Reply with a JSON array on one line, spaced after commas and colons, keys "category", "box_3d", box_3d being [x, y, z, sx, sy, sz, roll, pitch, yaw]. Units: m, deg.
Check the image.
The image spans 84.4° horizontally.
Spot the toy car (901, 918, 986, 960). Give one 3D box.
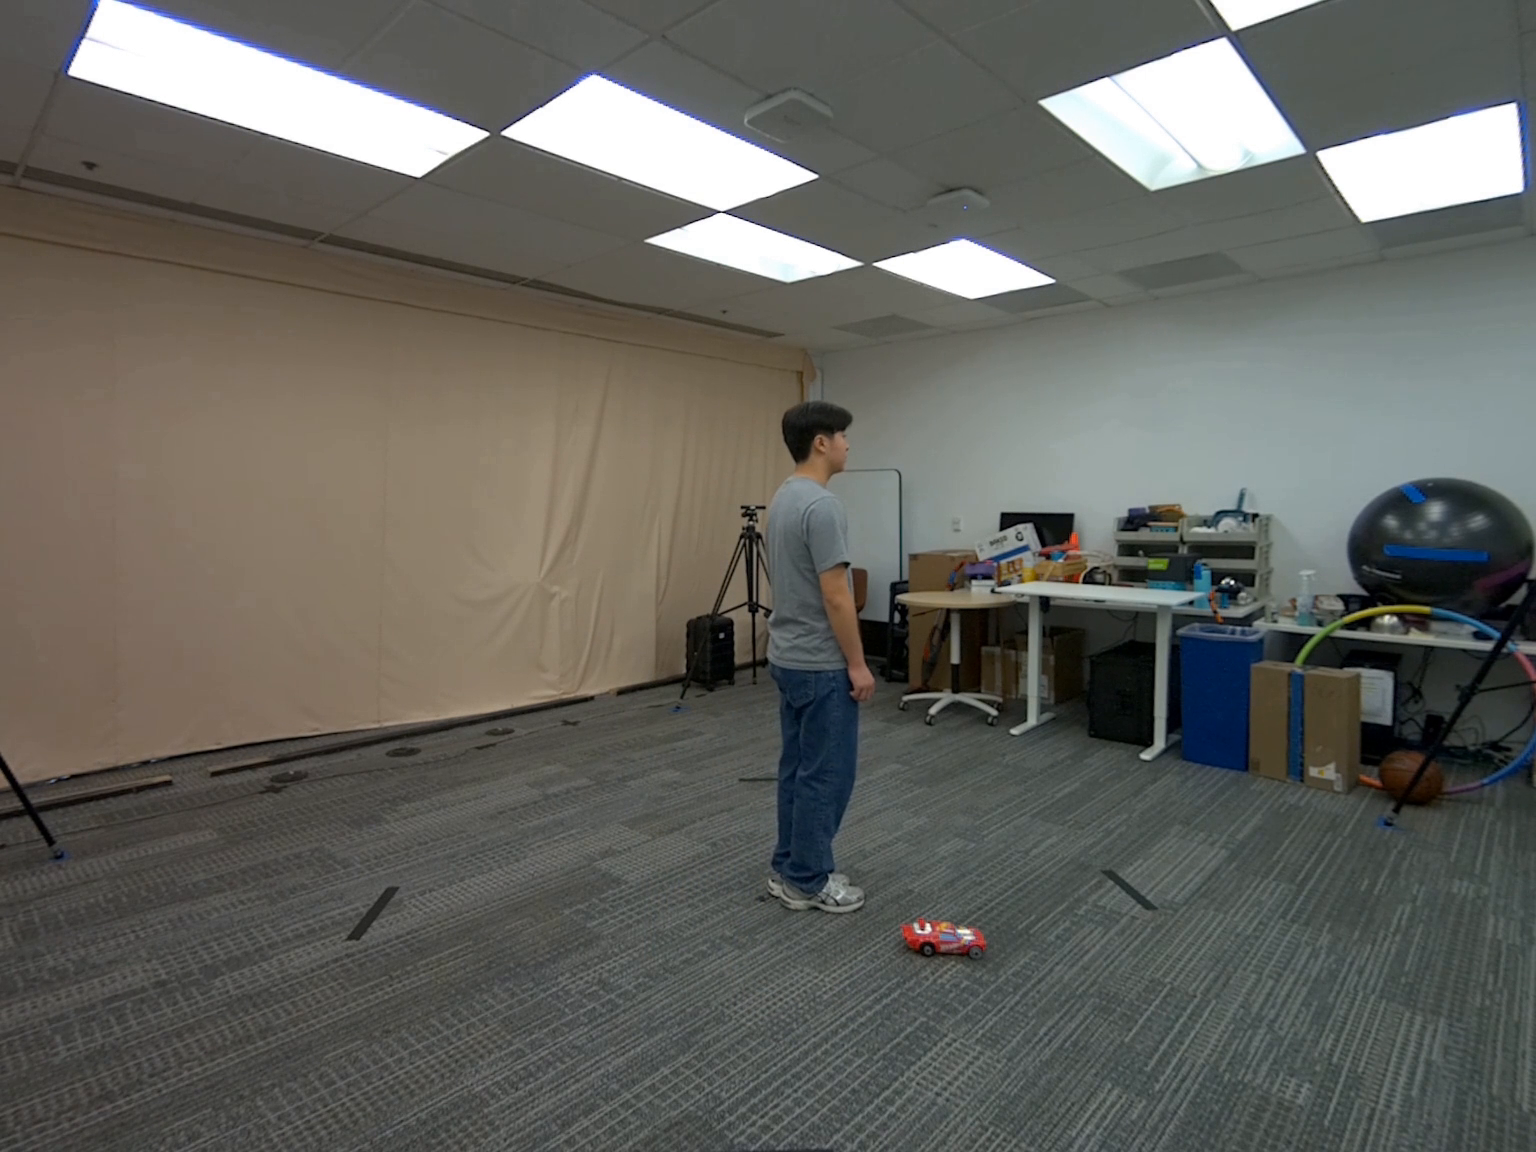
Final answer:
[{"category": "toy car", "box_3d": [0.553, 1.141, 2.635, 0.256, 0.083, 0.130, 11, 5, 3]}]
